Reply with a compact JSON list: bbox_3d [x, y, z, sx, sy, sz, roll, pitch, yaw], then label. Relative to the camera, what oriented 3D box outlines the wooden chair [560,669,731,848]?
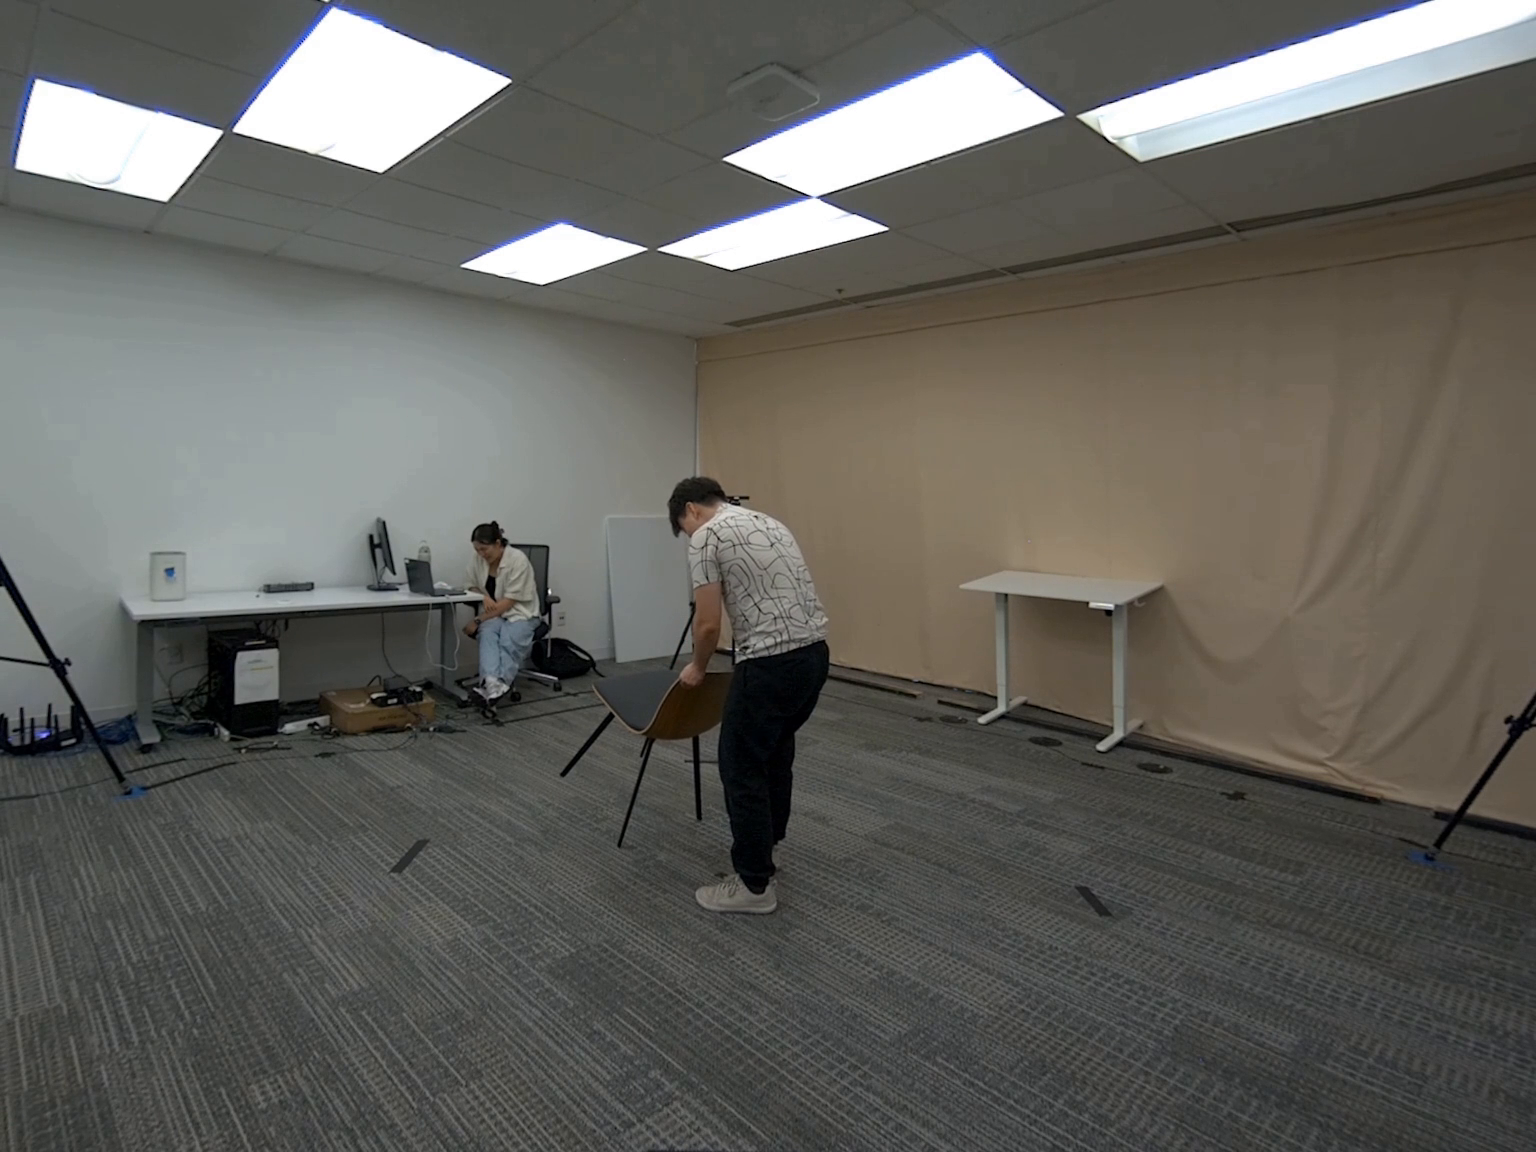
[{"bbox_3d":[-0.457,0.576,3.476,0.467,0.870,0.539,-2,34,-46],"label":"wooden chair"}]
